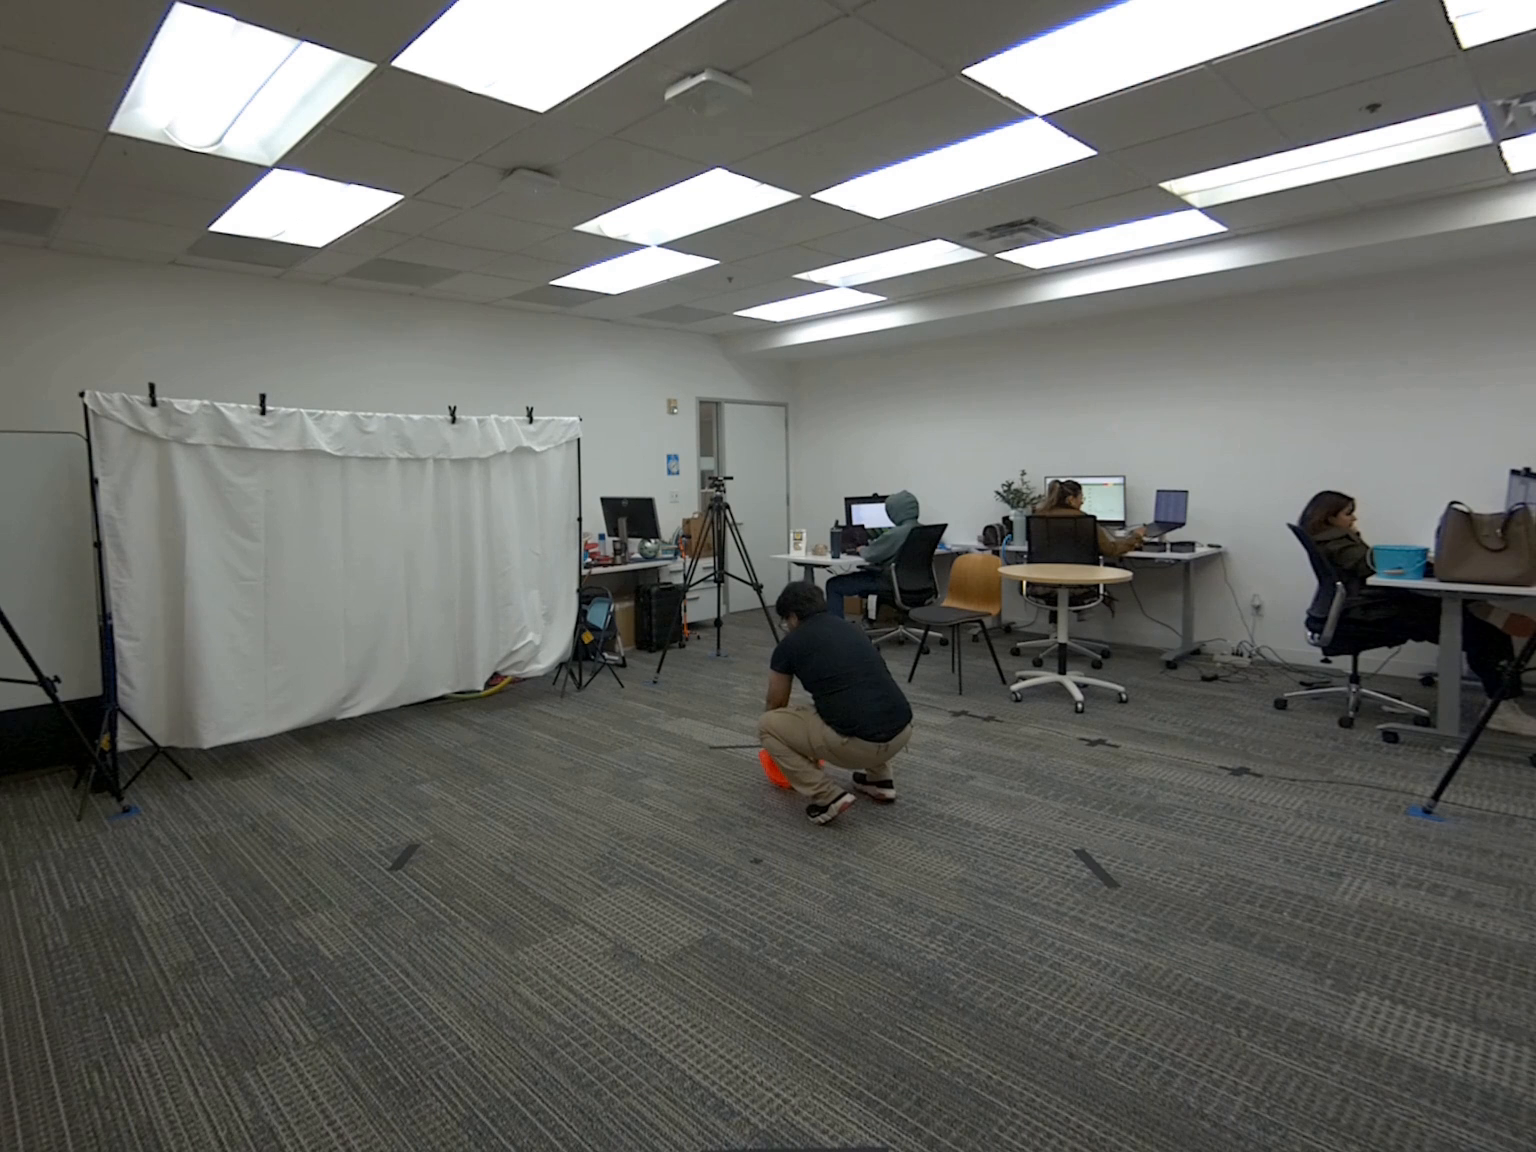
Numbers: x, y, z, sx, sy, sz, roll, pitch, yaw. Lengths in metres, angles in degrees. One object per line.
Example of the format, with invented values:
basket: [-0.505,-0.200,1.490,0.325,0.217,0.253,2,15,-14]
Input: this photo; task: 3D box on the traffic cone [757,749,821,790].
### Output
traffic cone: [0.168,0.864,3.981,0.206,0.208,0.371,-33,-23,24]
